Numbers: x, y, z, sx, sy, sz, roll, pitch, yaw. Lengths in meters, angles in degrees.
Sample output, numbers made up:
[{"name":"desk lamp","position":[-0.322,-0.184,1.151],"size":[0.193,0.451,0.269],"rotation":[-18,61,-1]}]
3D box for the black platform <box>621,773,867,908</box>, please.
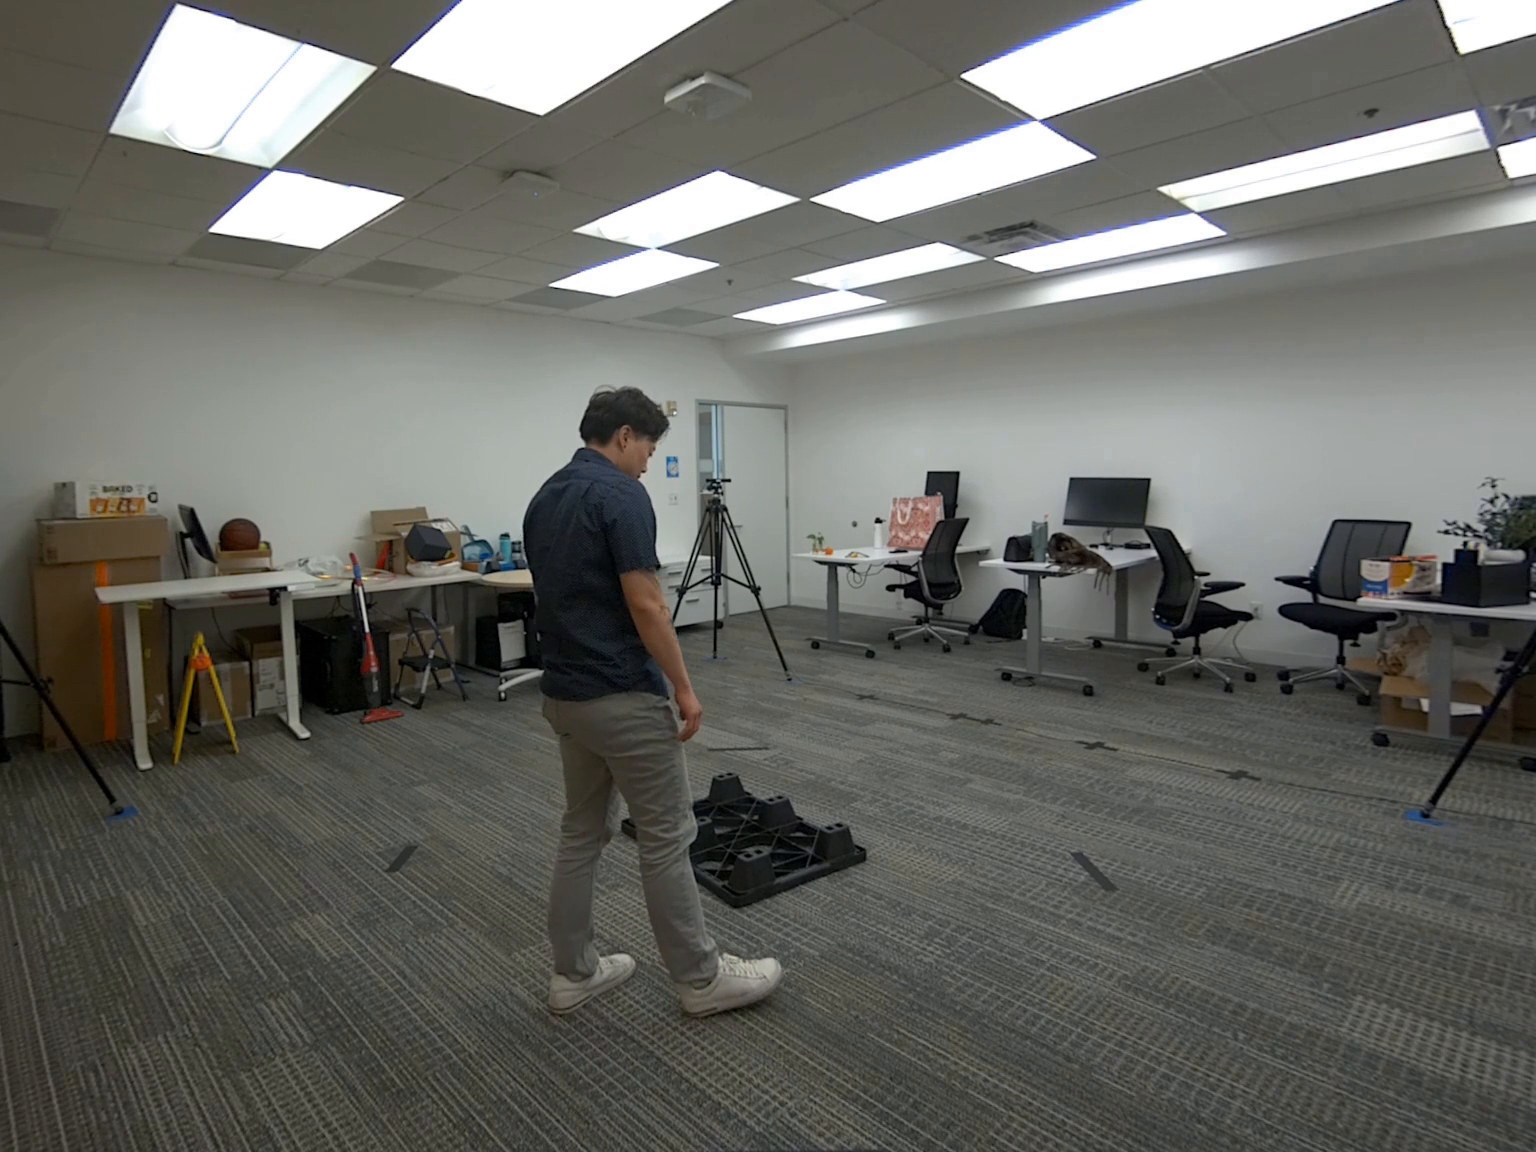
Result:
[{"name":"black platform","position":[-0.107,0.962,3.265],"size":[0.590,0.142,0.830],"rotation":[-6,9,-37]}]
